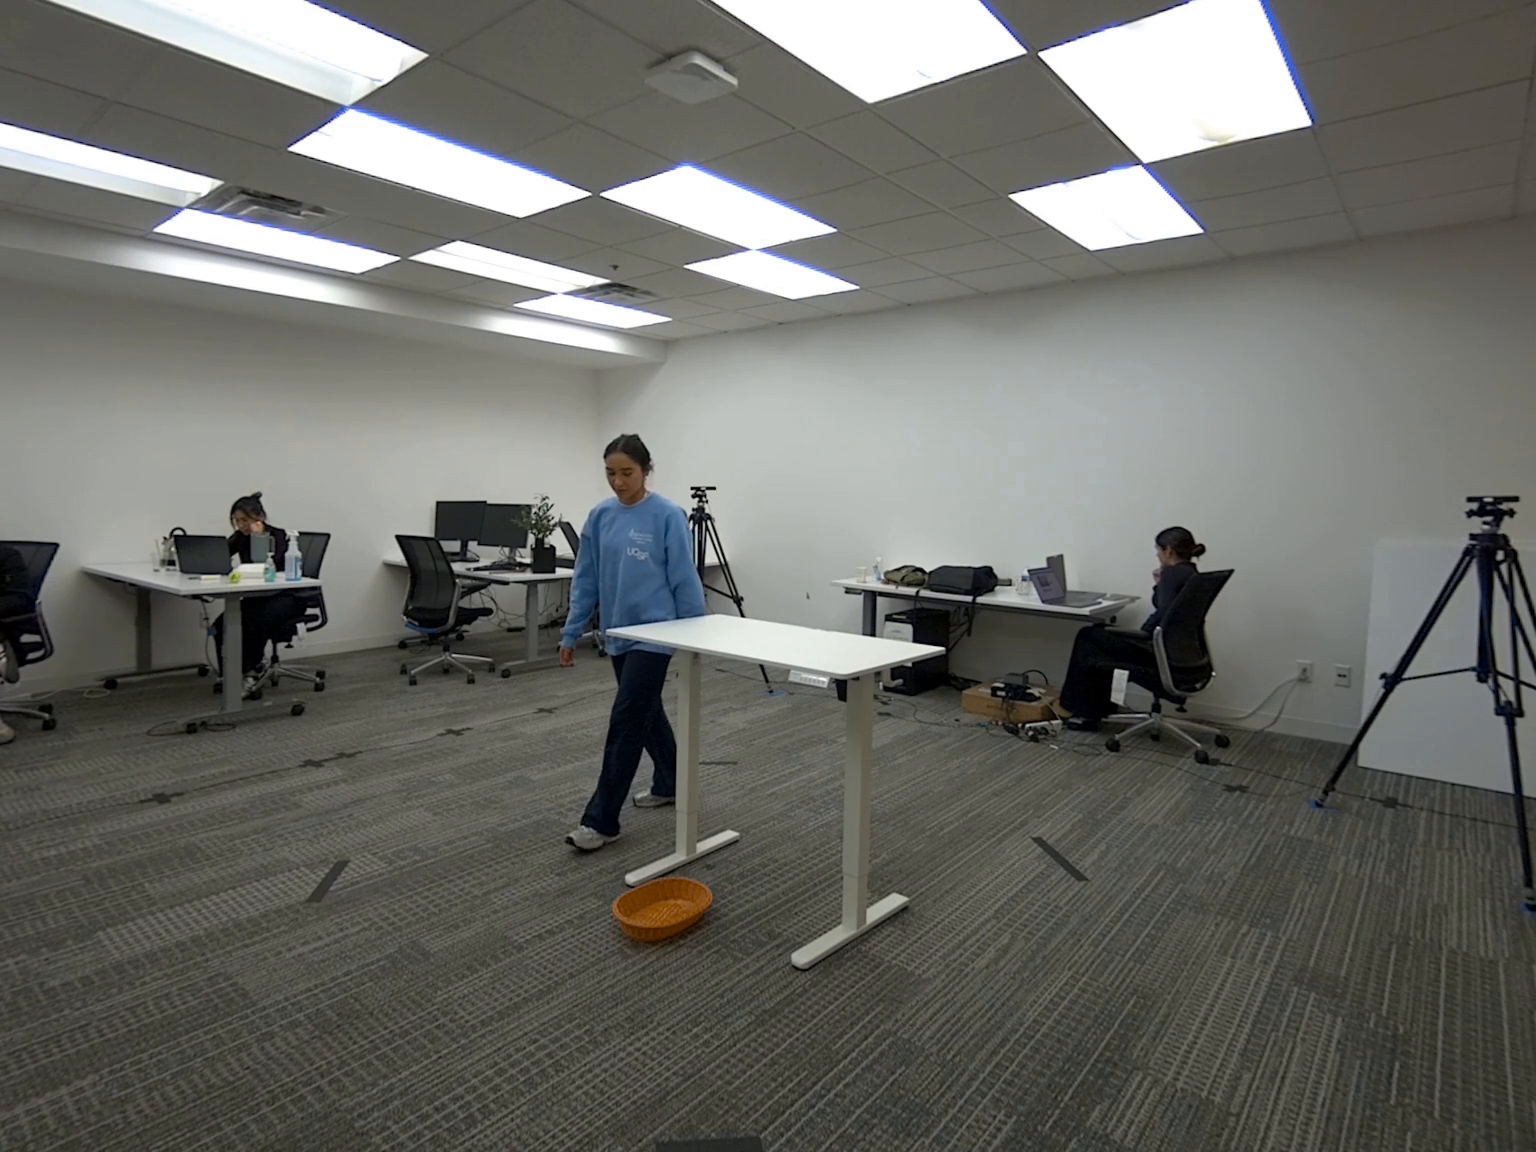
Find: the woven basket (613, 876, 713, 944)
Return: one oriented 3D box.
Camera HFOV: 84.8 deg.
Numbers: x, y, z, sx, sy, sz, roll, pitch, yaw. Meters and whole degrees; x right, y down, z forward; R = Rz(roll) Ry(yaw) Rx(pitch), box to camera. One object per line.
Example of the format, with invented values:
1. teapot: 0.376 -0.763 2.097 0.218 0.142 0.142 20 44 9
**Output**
1. woven basket: -0.340 1.061 2.712 0.261 0.073 0.340 7 8 41
